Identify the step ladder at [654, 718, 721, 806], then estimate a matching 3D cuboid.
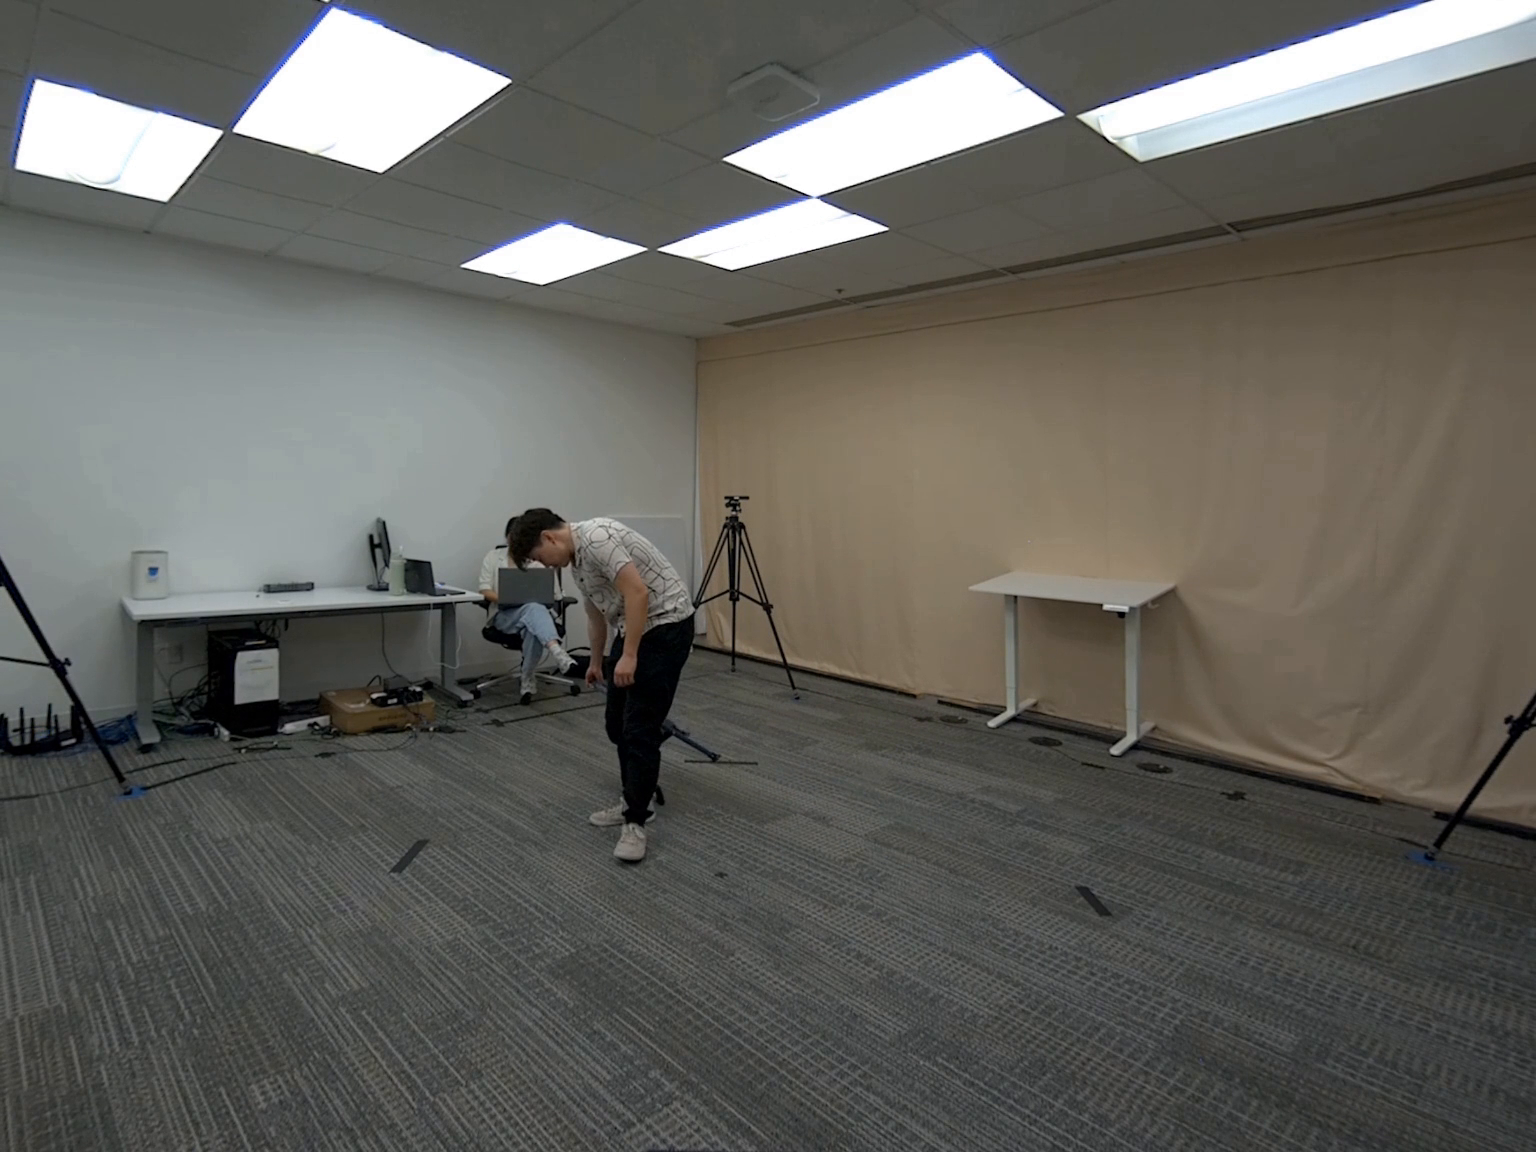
[{"bbox_3d":[-0.597,0.682,3.952,0.348,0.596,0.439,-38,18,-19],"label":"step ladder"}]
